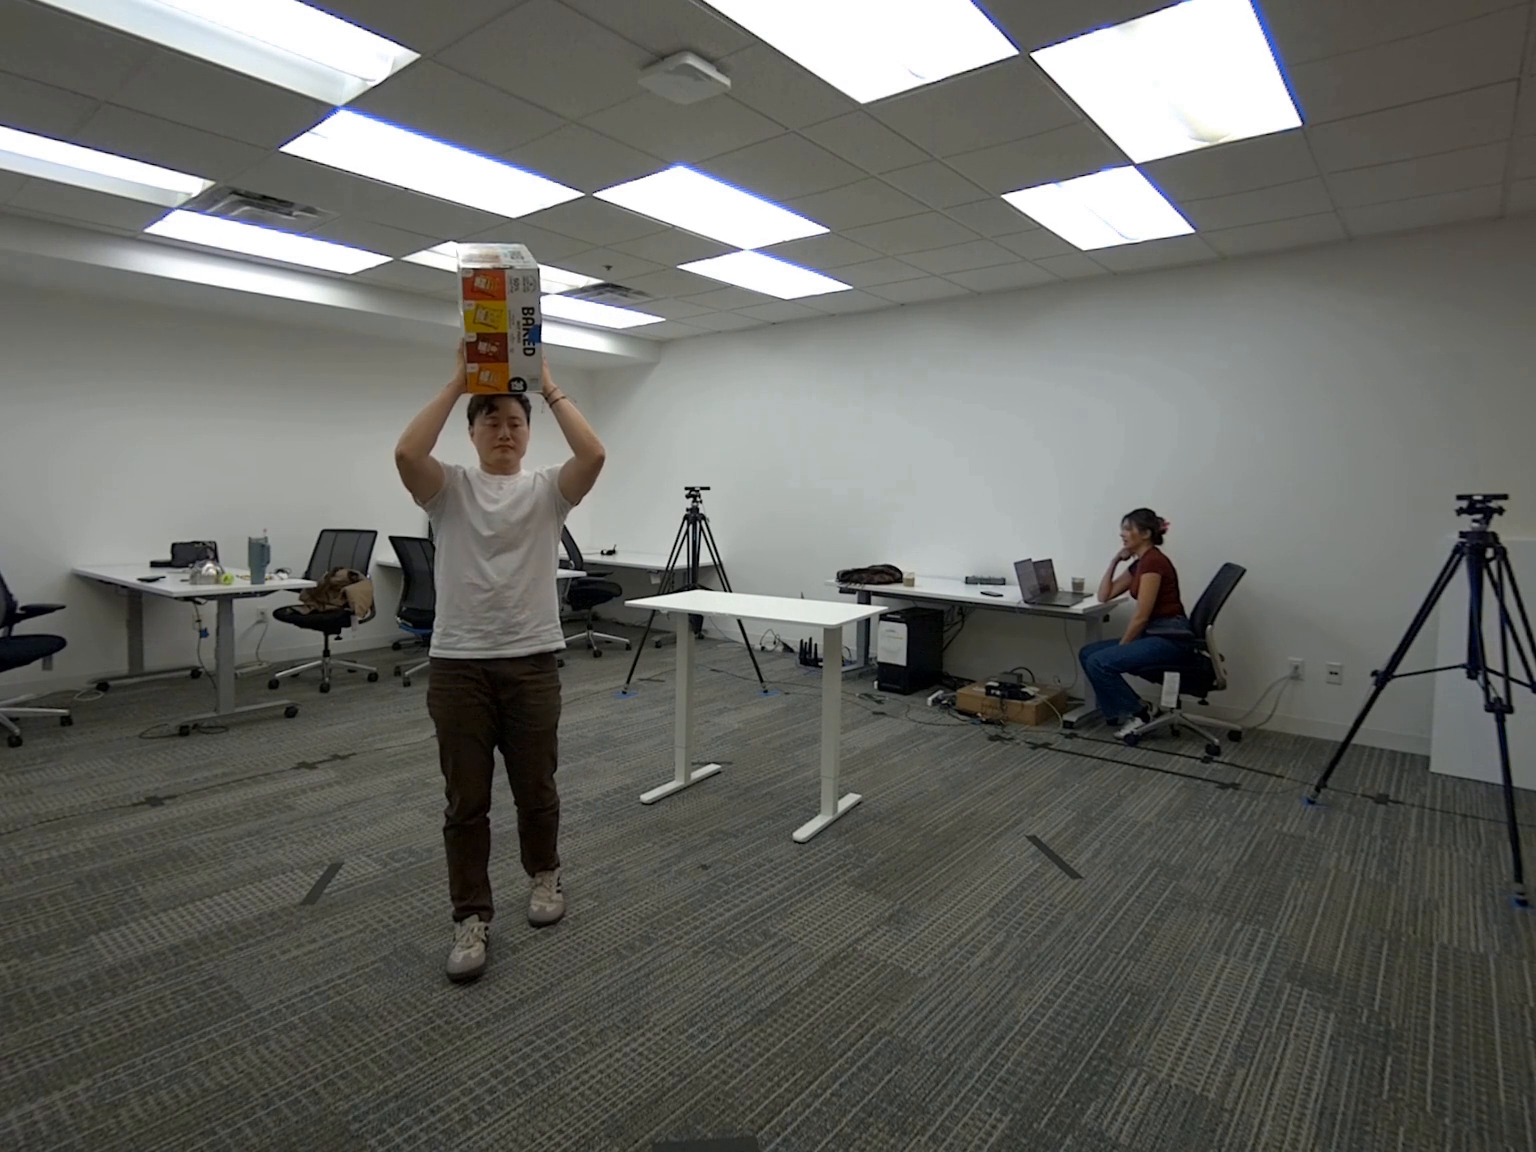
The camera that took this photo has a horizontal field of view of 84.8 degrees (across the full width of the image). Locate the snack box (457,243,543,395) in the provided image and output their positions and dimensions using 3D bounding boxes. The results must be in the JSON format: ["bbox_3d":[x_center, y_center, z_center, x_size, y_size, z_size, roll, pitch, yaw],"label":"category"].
[{"bbox_3d":[-0.788,-0.750,2.449,0.202,0.333,0.421,-5,29,-20],"label":"snack box"}]
